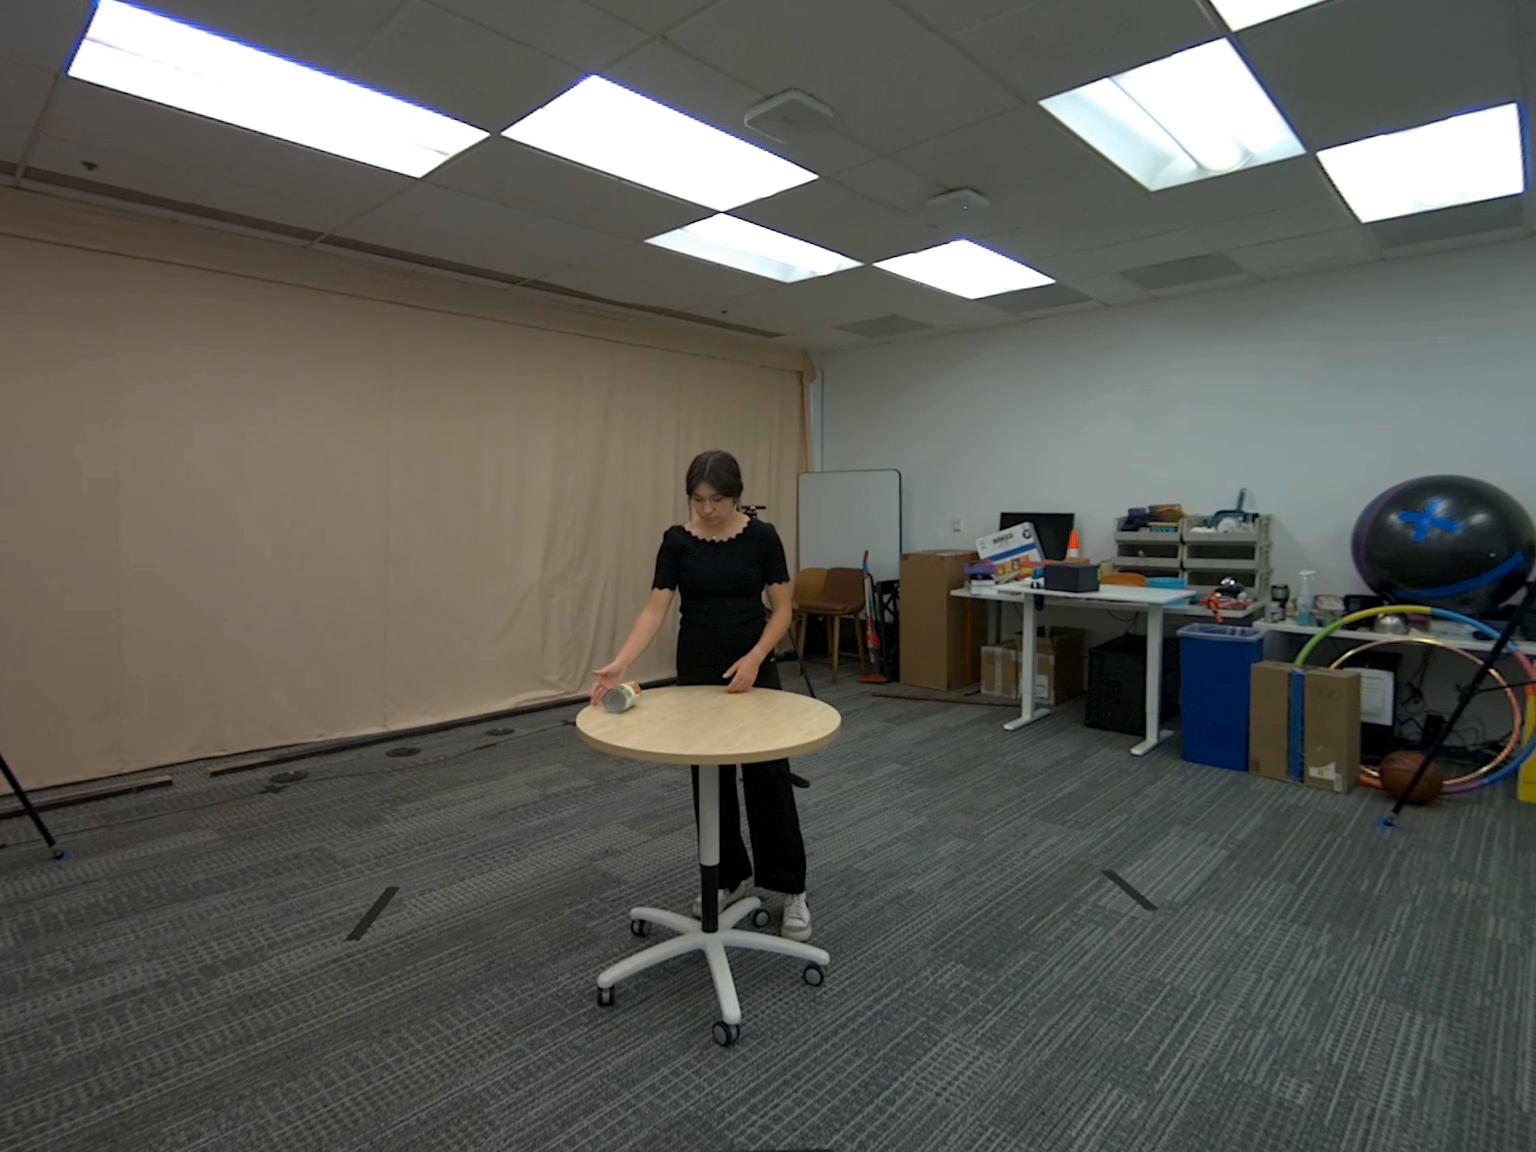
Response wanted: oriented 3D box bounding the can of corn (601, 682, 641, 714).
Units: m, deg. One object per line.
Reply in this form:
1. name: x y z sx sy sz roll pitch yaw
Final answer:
1. can of corn: -0.437 0.363 2.510 0.075 0.074 0.109 1 3 13
